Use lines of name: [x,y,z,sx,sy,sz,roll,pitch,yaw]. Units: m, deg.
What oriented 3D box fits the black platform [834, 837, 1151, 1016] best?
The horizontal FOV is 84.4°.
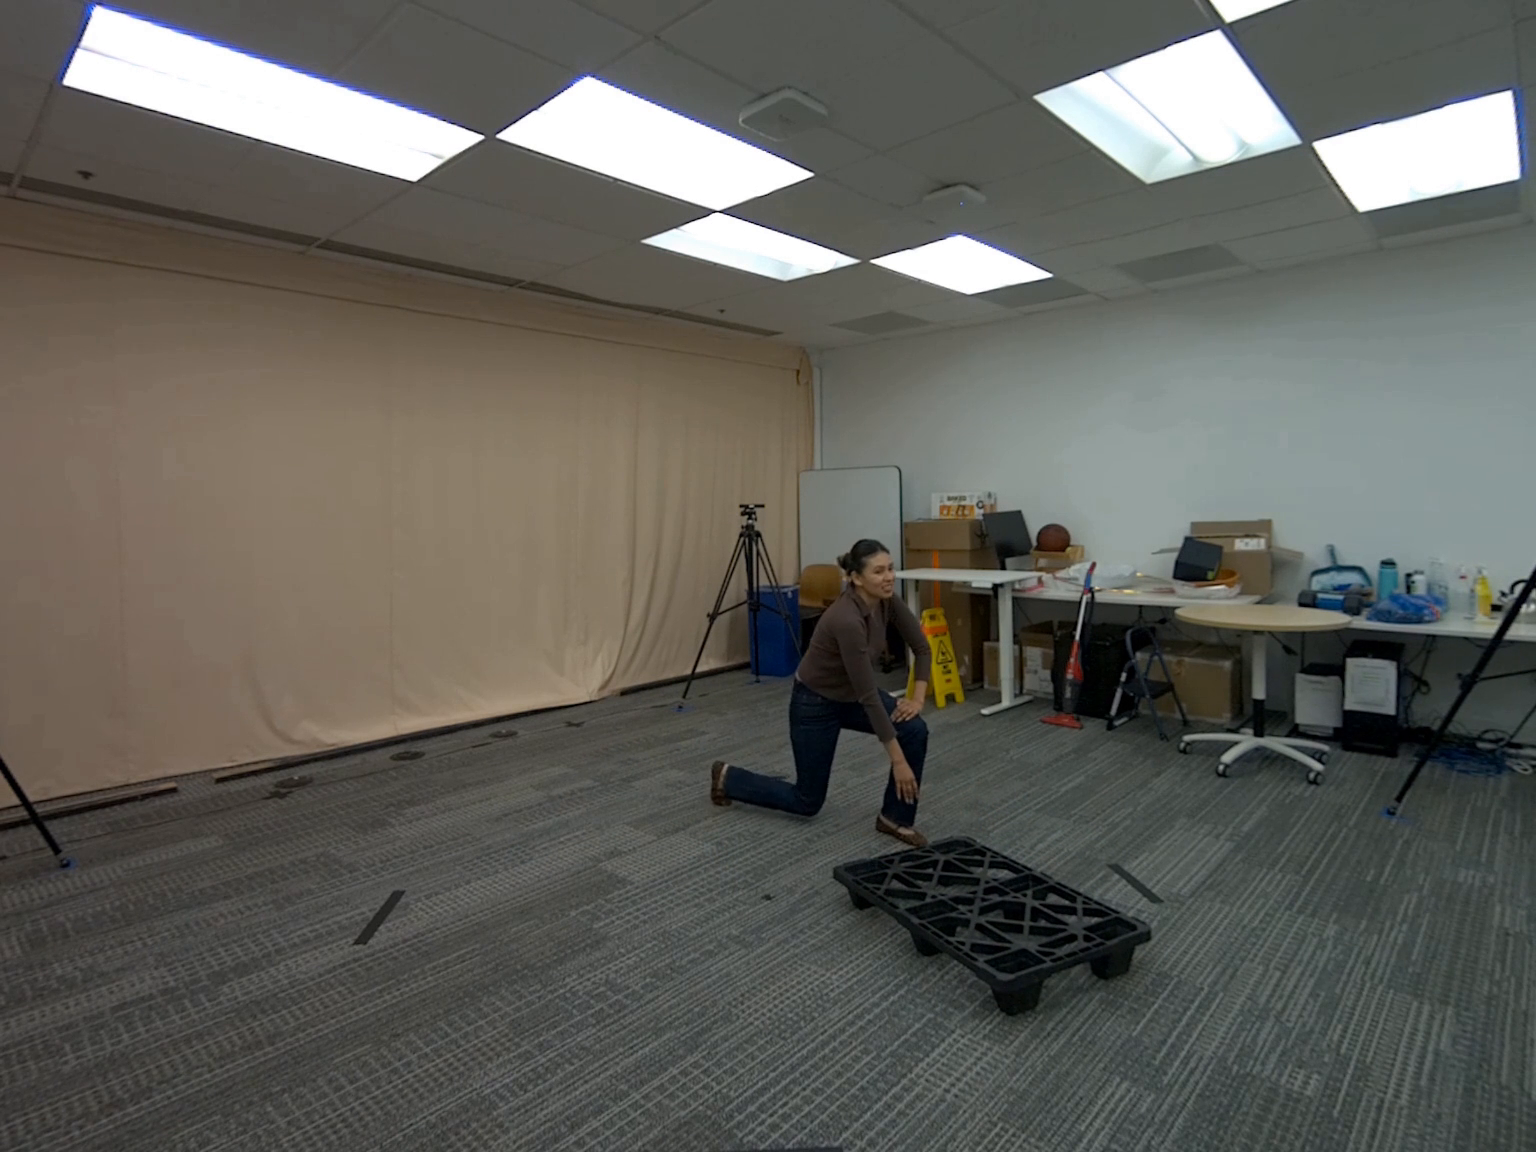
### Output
black platform: [0.682,1.080,2.700,0.590,0.143,0.828,-3,5,-28]
